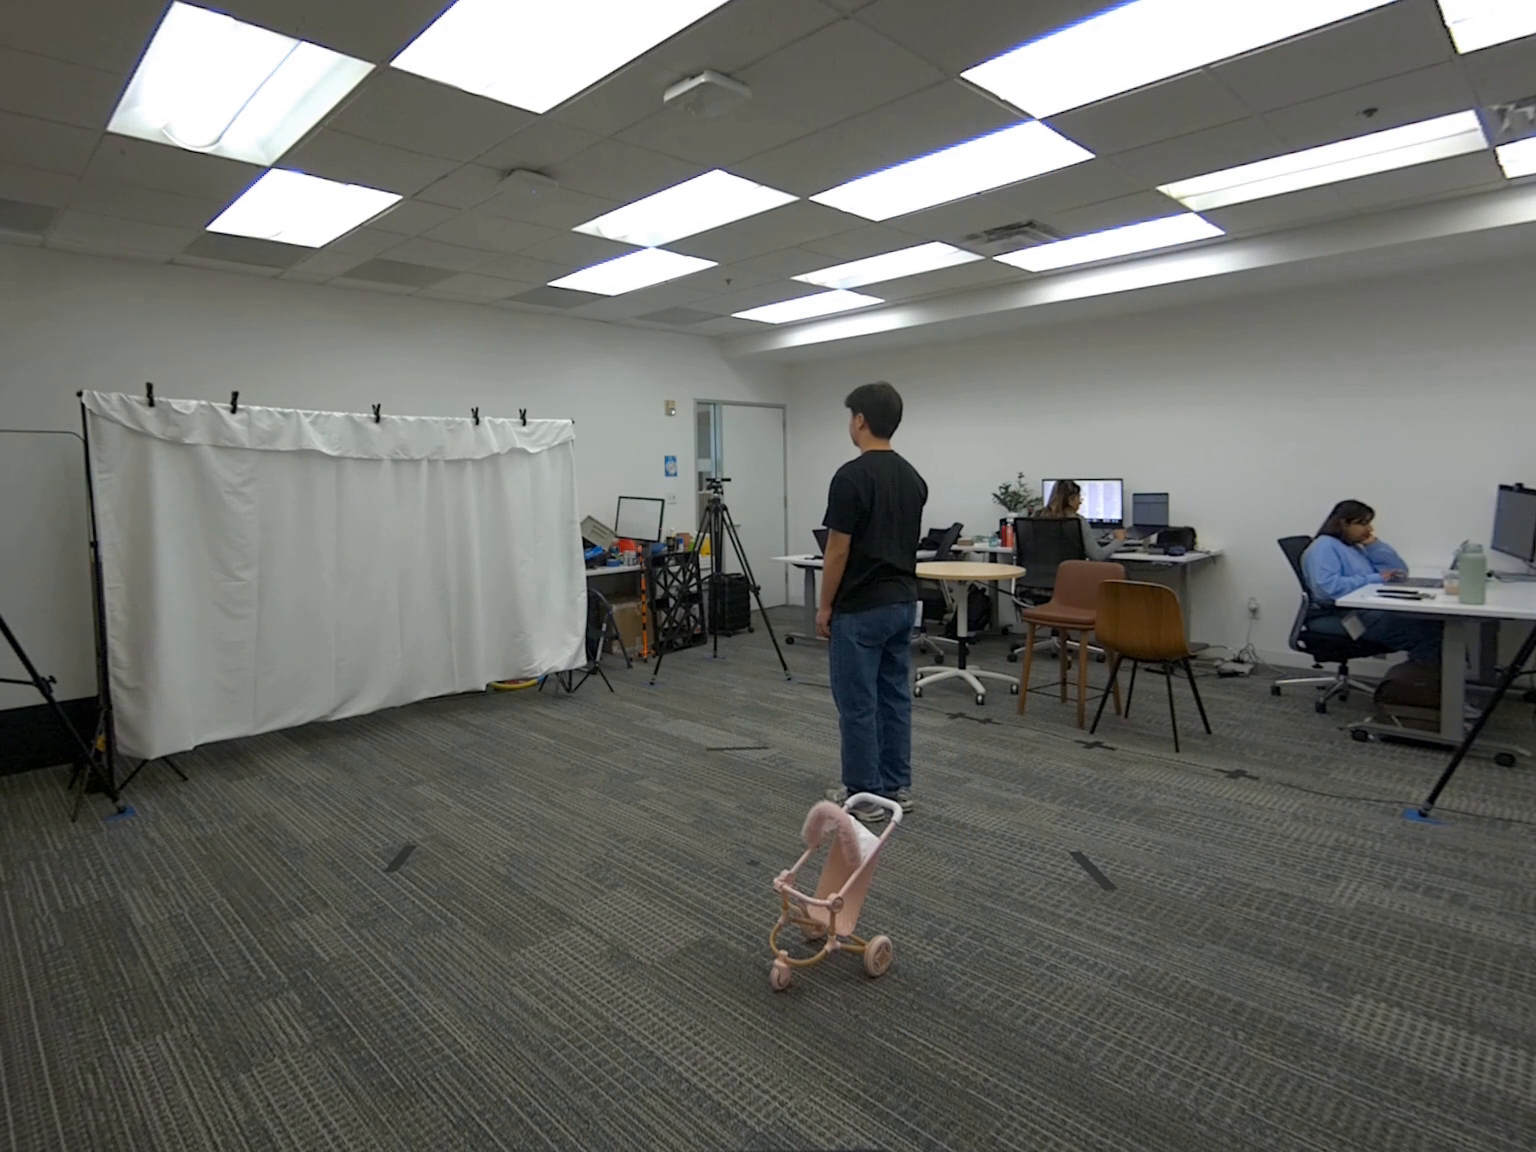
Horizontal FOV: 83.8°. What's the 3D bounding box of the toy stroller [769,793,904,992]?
[{"bbox_3d":[0.178,0.892,2.446,0.330,0.537,0.289,15,-7,-35],"label":"toy stroller"}]
